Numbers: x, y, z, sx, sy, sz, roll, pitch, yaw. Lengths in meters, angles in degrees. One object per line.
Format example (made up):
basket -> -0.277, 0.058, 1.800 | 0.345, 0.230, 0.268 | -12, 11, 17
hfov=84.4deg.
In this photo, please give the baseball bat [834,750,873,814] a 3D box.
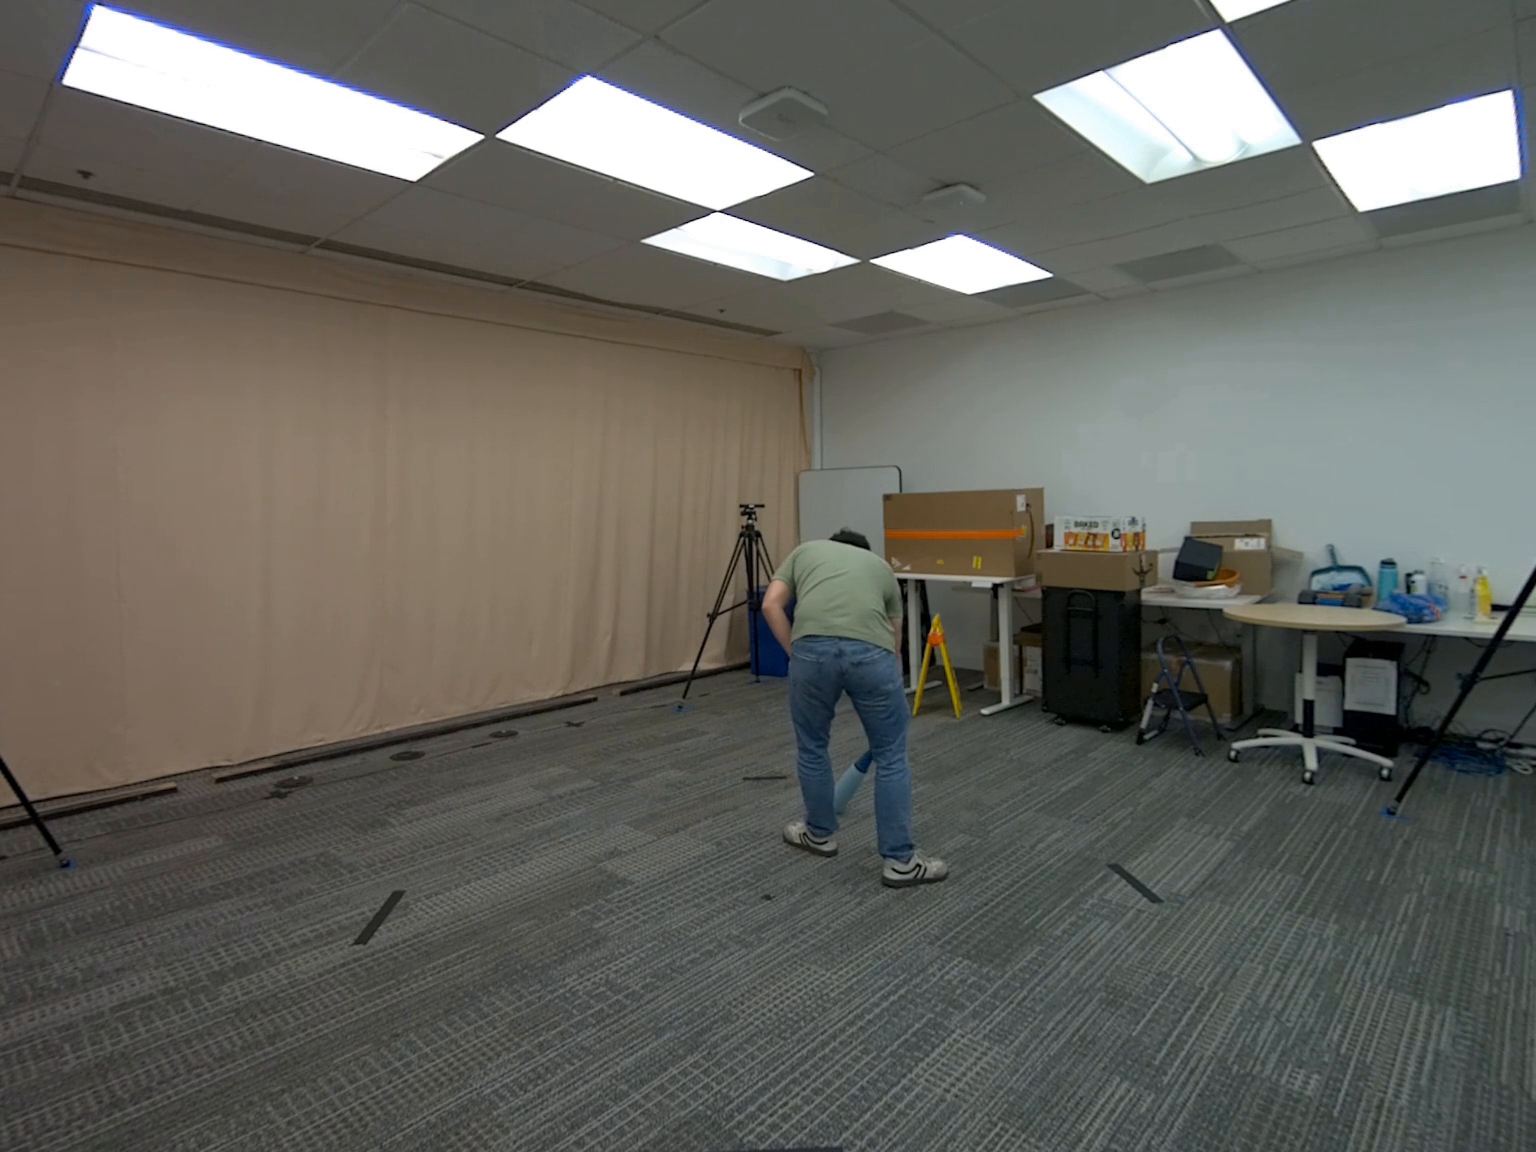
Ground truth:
baseball bat -> 0.424, 0.836, 3.711 | 0.088, 0.543, 0.090 | 28, 19, -13
